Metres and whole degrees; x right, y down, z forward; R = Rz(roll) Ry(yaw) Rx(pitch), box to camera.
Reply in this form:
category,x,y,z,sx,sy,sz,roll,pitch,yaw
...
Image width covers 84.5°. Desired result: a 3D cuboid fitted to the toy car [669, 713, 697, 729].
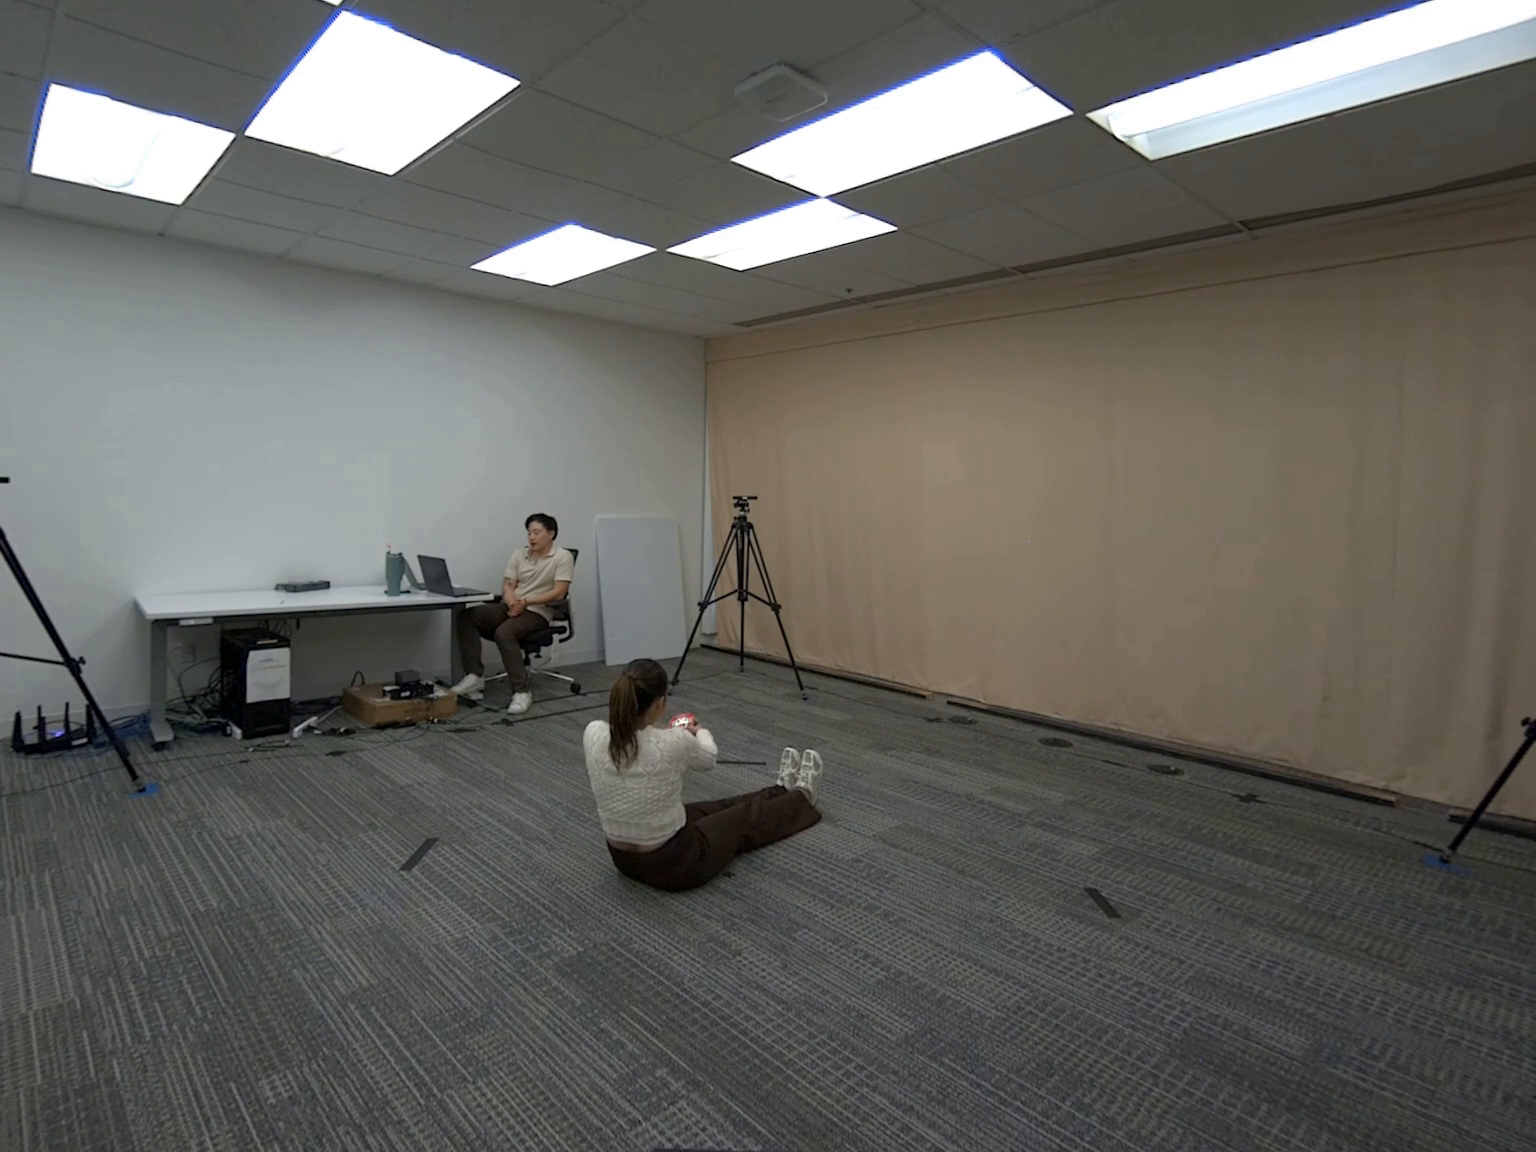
category,x,y,z,sx,sy,sz,roll,pitch,yaw
toy car,-0.367,0.679,3.519,0.130,0.082,0.258,-10,18,-1
